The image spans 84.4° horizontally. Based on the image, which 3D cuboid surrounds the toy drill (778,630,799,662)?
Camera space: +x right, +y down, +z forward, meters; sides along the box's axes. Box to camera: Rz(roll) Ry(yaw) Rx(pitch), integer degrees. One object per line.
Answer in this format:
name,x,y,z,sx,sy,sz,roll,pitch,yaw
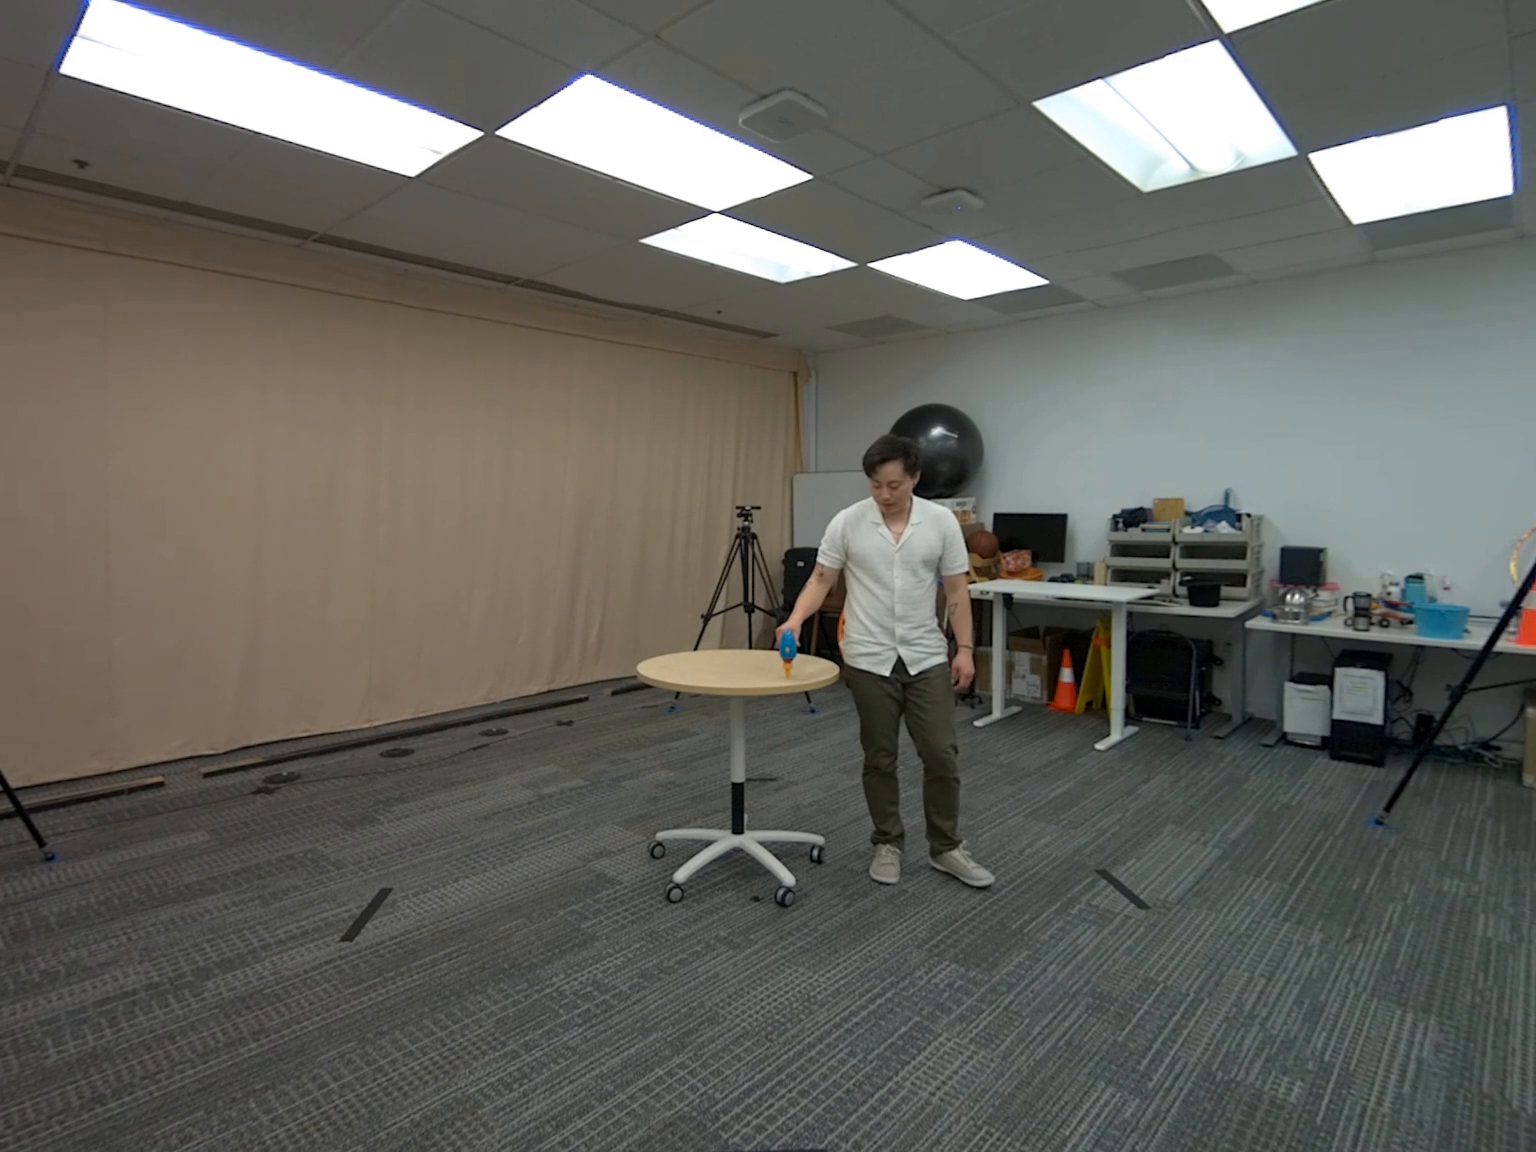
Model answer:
toy drill,0.081,0.277,2.979,0.062,0.170,0.144,-5,-3,7
